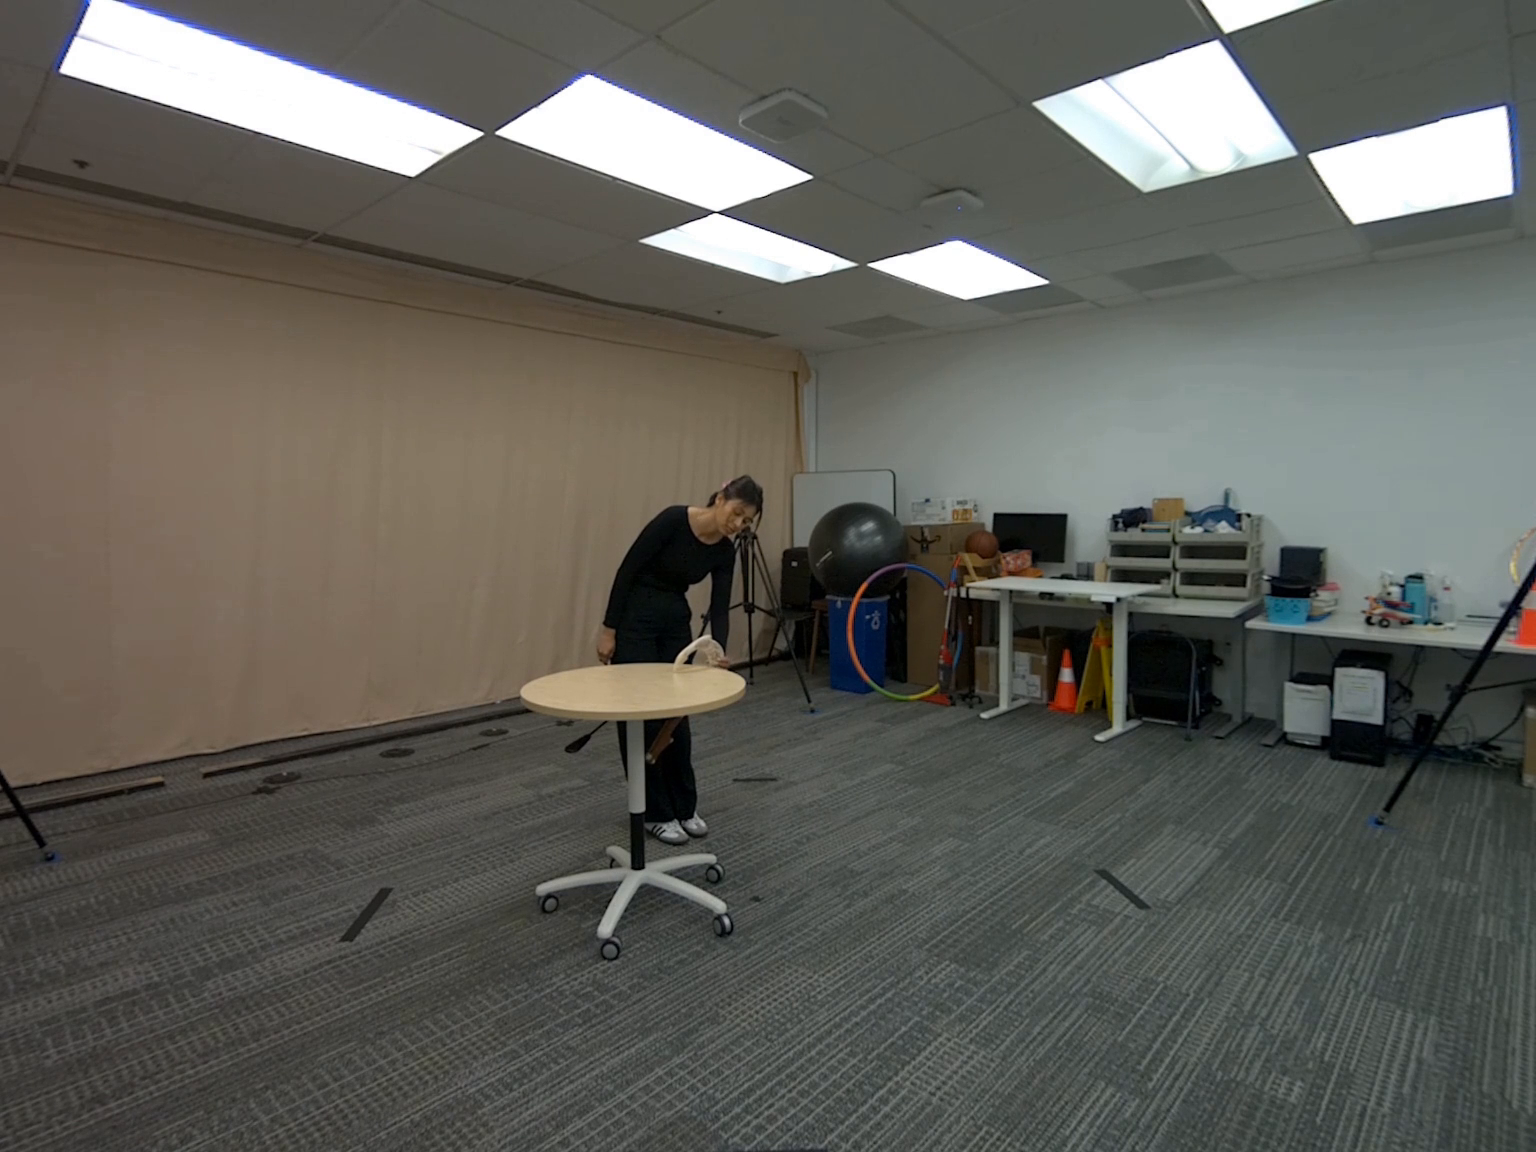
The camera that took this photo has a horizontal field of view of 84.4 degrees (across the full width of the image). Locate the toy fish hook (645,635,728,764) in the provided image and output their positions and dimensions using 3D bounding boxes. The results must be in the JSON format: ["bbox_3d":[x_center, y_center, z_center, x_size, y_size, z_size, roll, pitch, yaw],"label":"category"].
[{"bbox_3d":[-0.332,0.447,3.119,0.050,0.506,0.217,8,-31,51],"label":"toy fish hook"}]
